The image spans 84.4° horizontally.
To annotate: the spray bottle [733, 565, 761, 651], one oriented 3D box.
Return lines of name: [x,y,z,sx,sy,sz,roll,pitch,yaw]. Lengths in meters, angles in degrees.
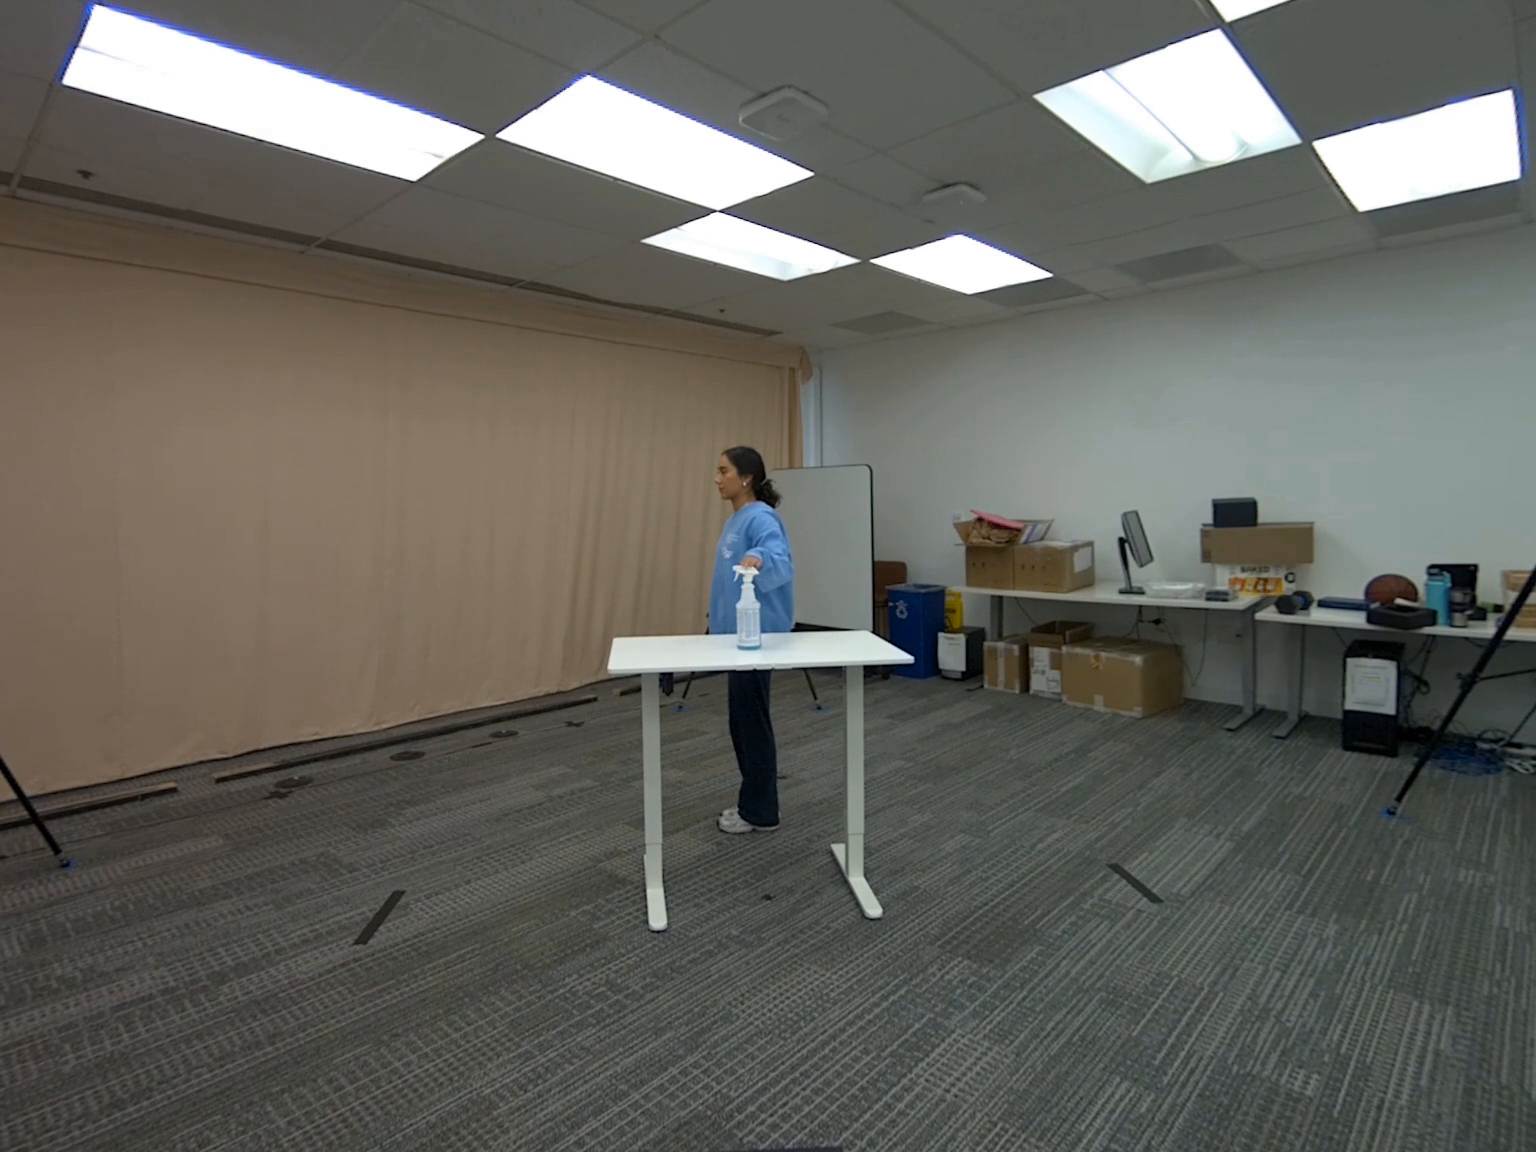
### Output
spray bottle: [-0.069,0.111,2.993,0.092,0.297,0.085,-2,3,18]
